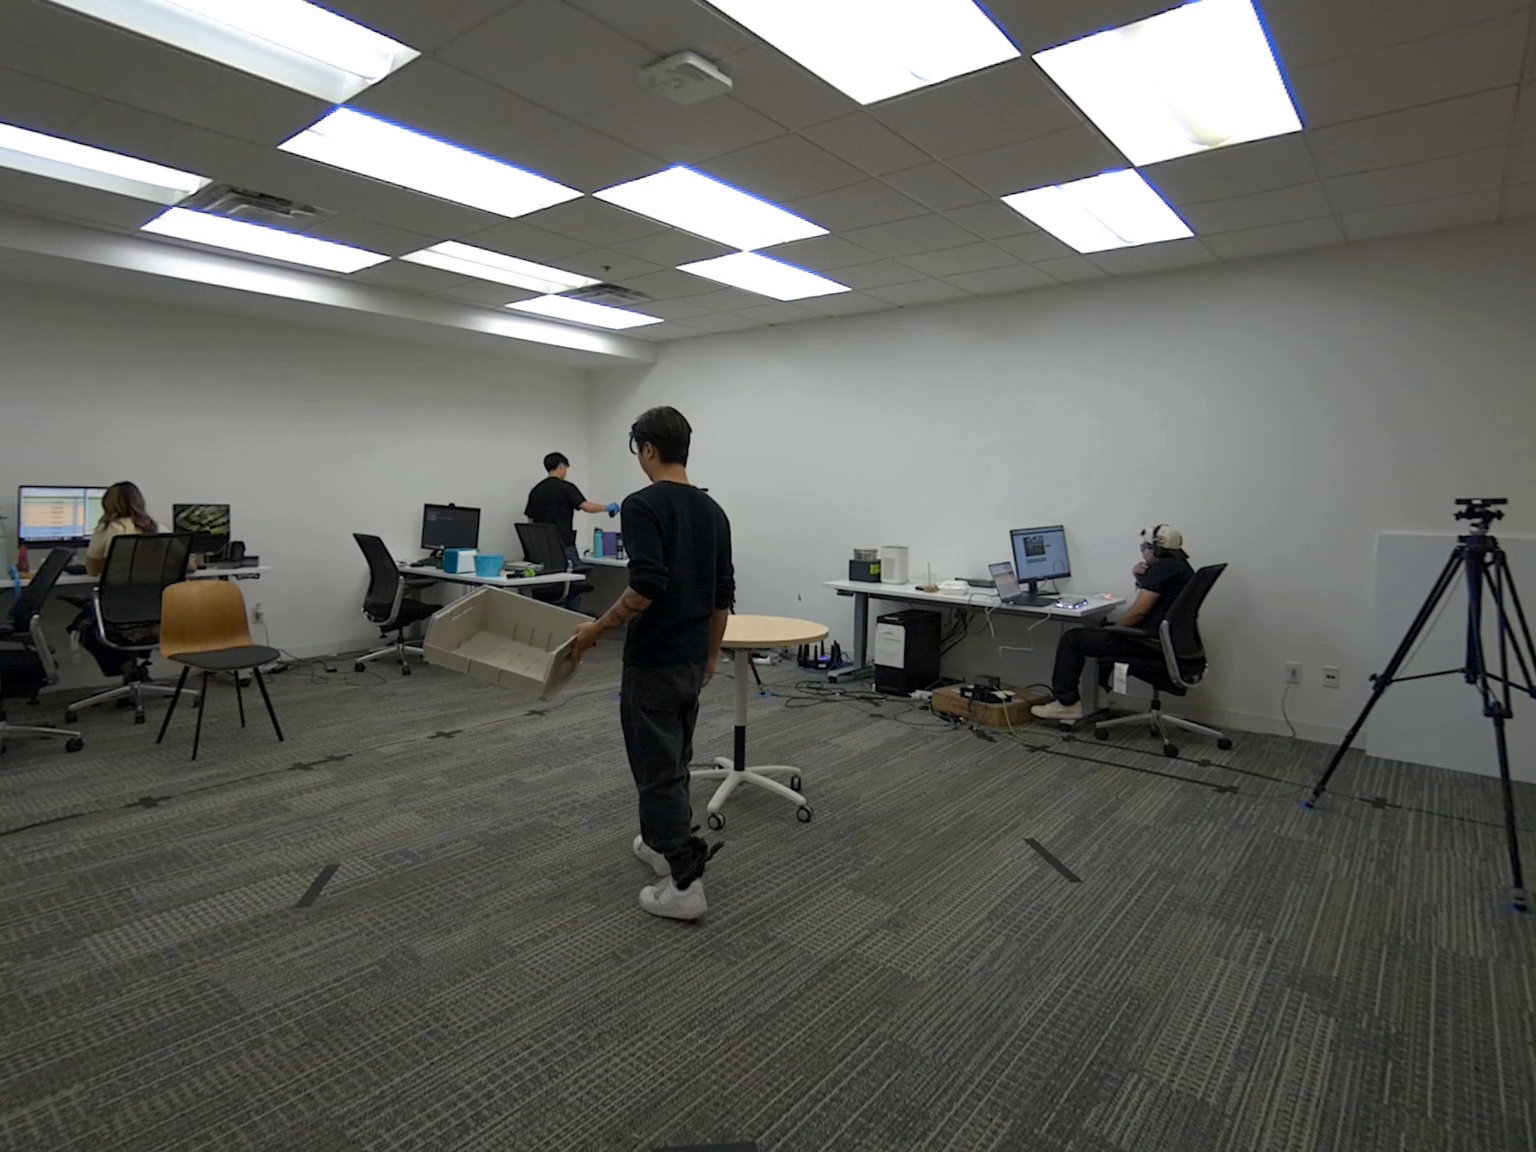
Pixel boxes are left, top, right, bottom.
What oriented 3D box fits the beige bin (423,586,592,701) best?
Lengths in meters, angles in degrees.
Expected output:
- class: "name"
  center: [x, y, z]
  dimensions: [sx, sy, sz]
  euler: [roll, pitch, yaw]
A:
- class: "beige bin"
  center: [-0.855, 0.203, 2.789]
  dimensions: [0.426, 0.187, 0.377]
  euler: [14, 12, 6]
